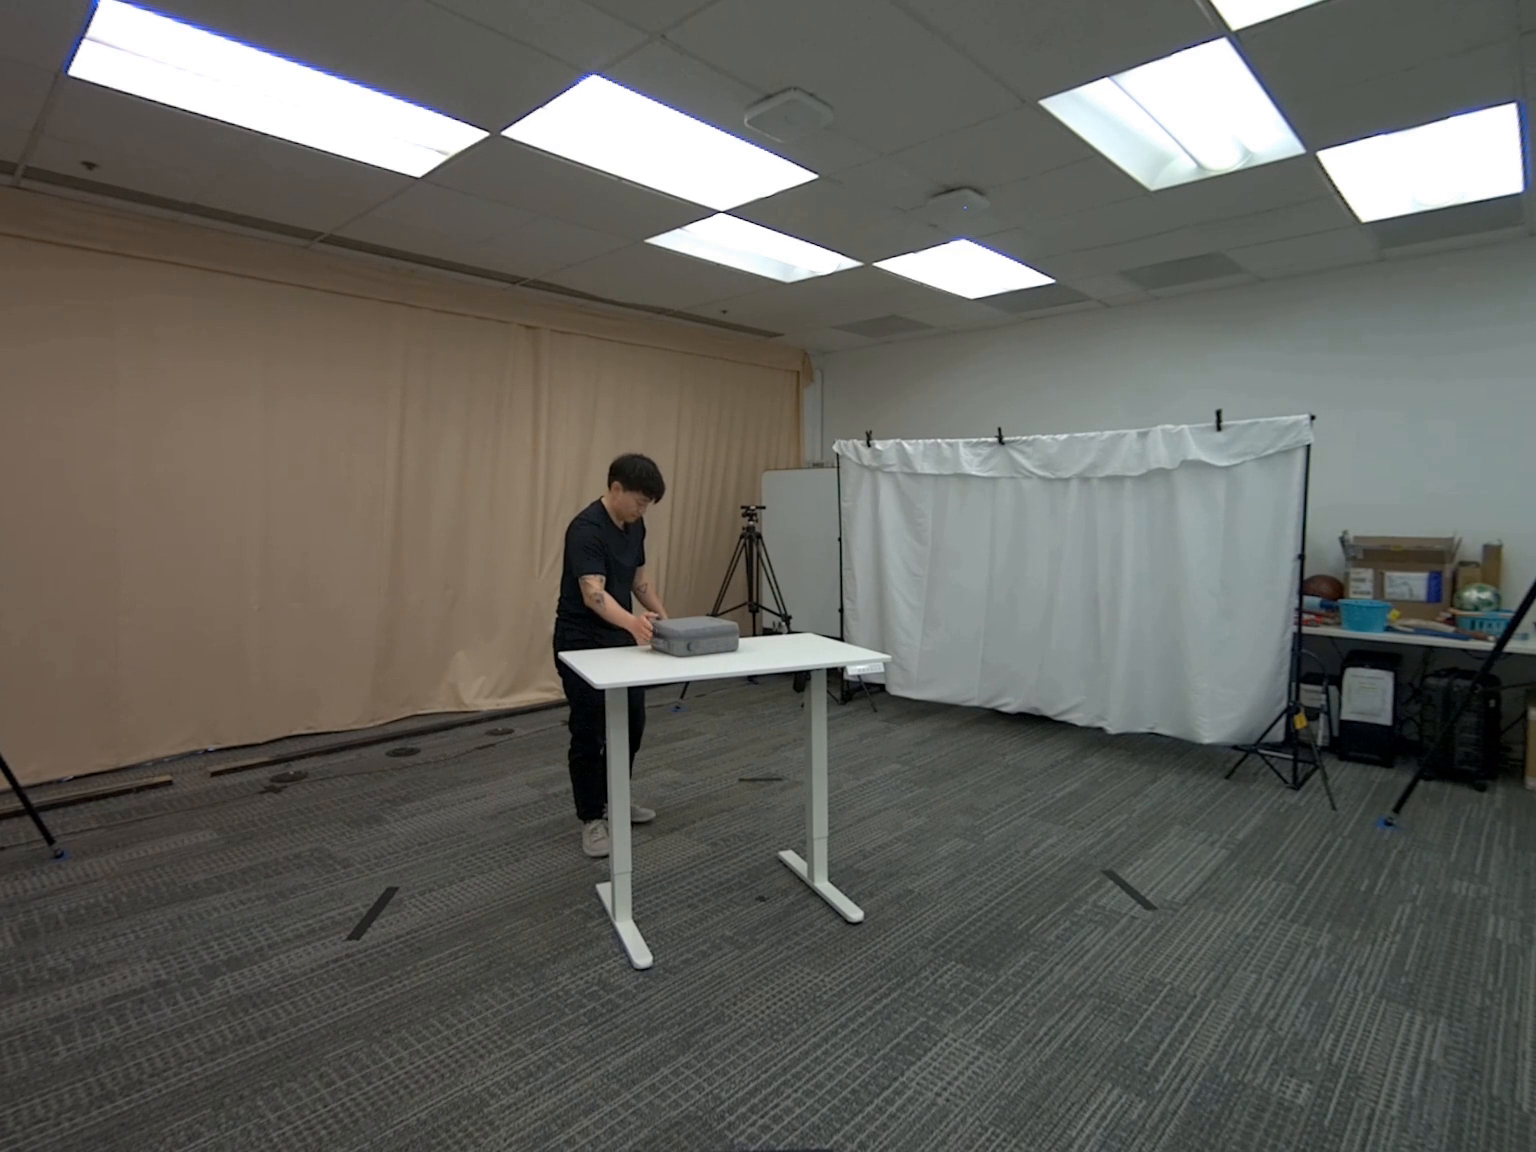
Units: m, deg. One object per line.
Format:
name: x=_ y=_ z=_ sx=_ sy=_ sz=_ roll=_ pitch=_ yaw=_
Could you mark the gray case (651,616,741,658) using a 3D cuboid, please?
gray case: x=-0.261 y=0.213 z=2.984 sx=0.254 sy=0.104 sz=0.265 roll=-4 pitch=7 yaw=-31
